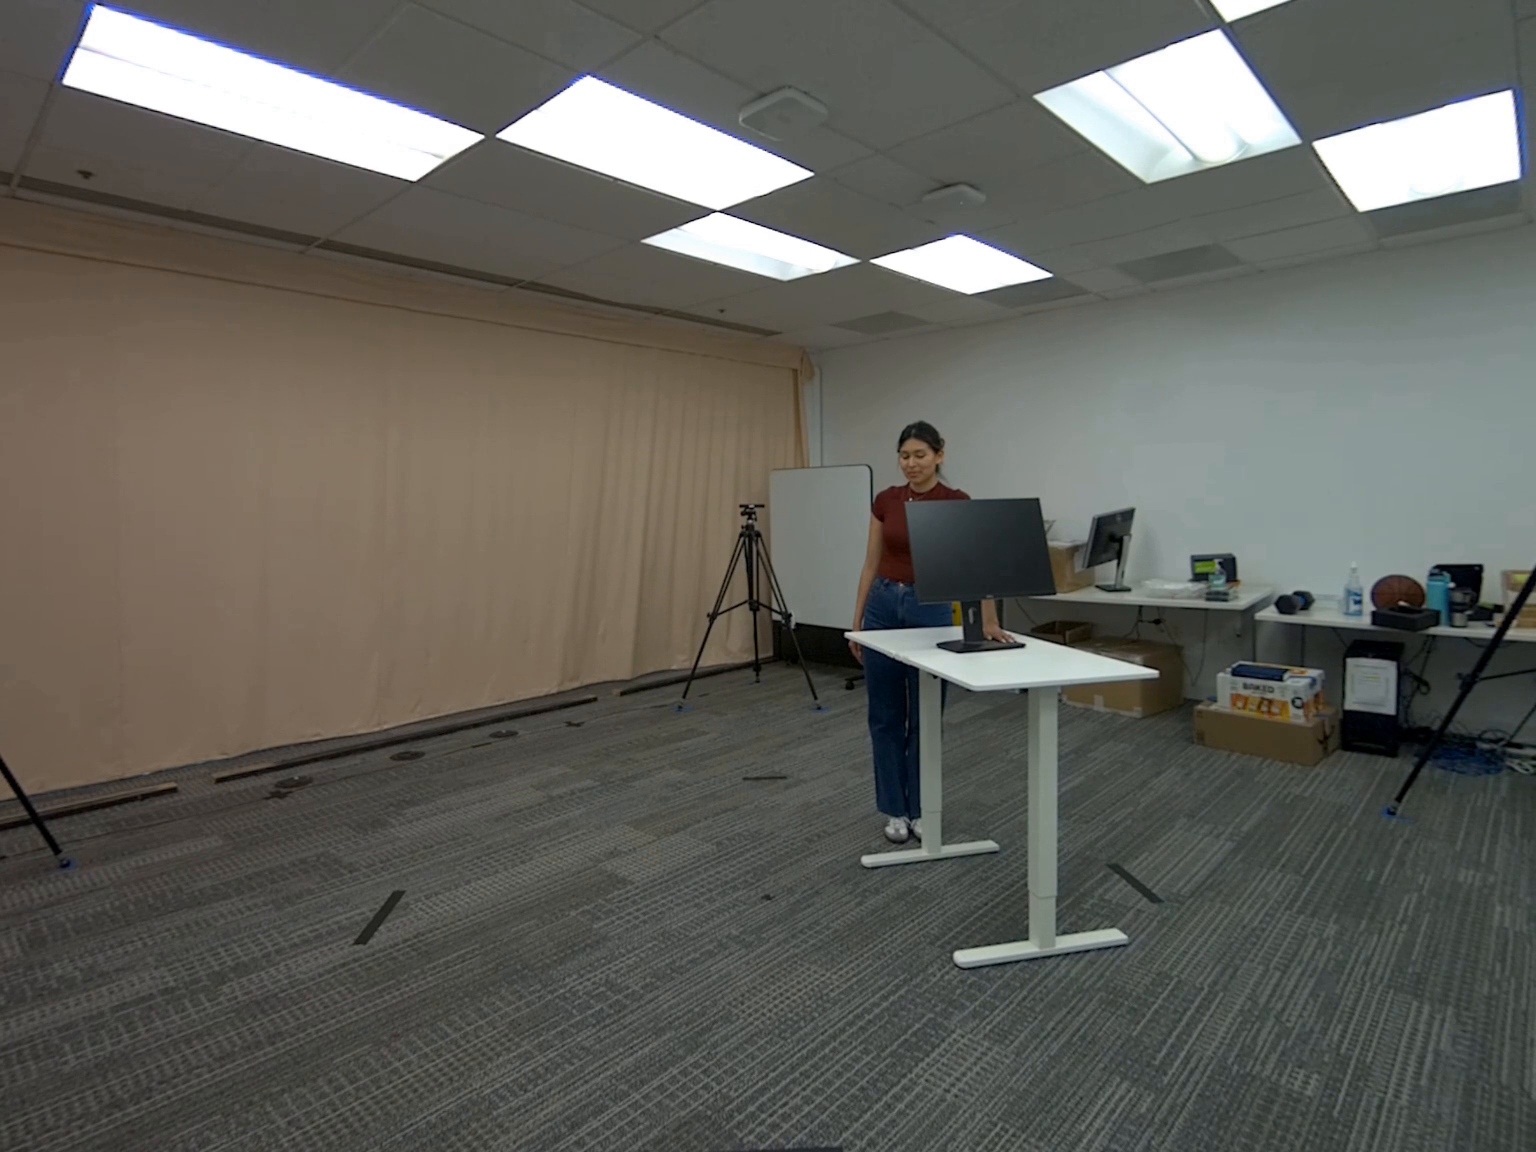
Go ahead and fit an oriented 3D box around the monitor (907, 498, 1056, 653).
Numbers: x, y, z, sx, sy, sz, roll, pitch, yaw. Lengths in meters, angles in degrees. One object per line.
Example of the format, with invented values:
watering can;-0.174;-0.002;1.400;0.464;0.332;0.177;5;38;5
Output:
monitor;0.733;-0.008;2.939;0.529;0.522;0.191;-3;2;-19
